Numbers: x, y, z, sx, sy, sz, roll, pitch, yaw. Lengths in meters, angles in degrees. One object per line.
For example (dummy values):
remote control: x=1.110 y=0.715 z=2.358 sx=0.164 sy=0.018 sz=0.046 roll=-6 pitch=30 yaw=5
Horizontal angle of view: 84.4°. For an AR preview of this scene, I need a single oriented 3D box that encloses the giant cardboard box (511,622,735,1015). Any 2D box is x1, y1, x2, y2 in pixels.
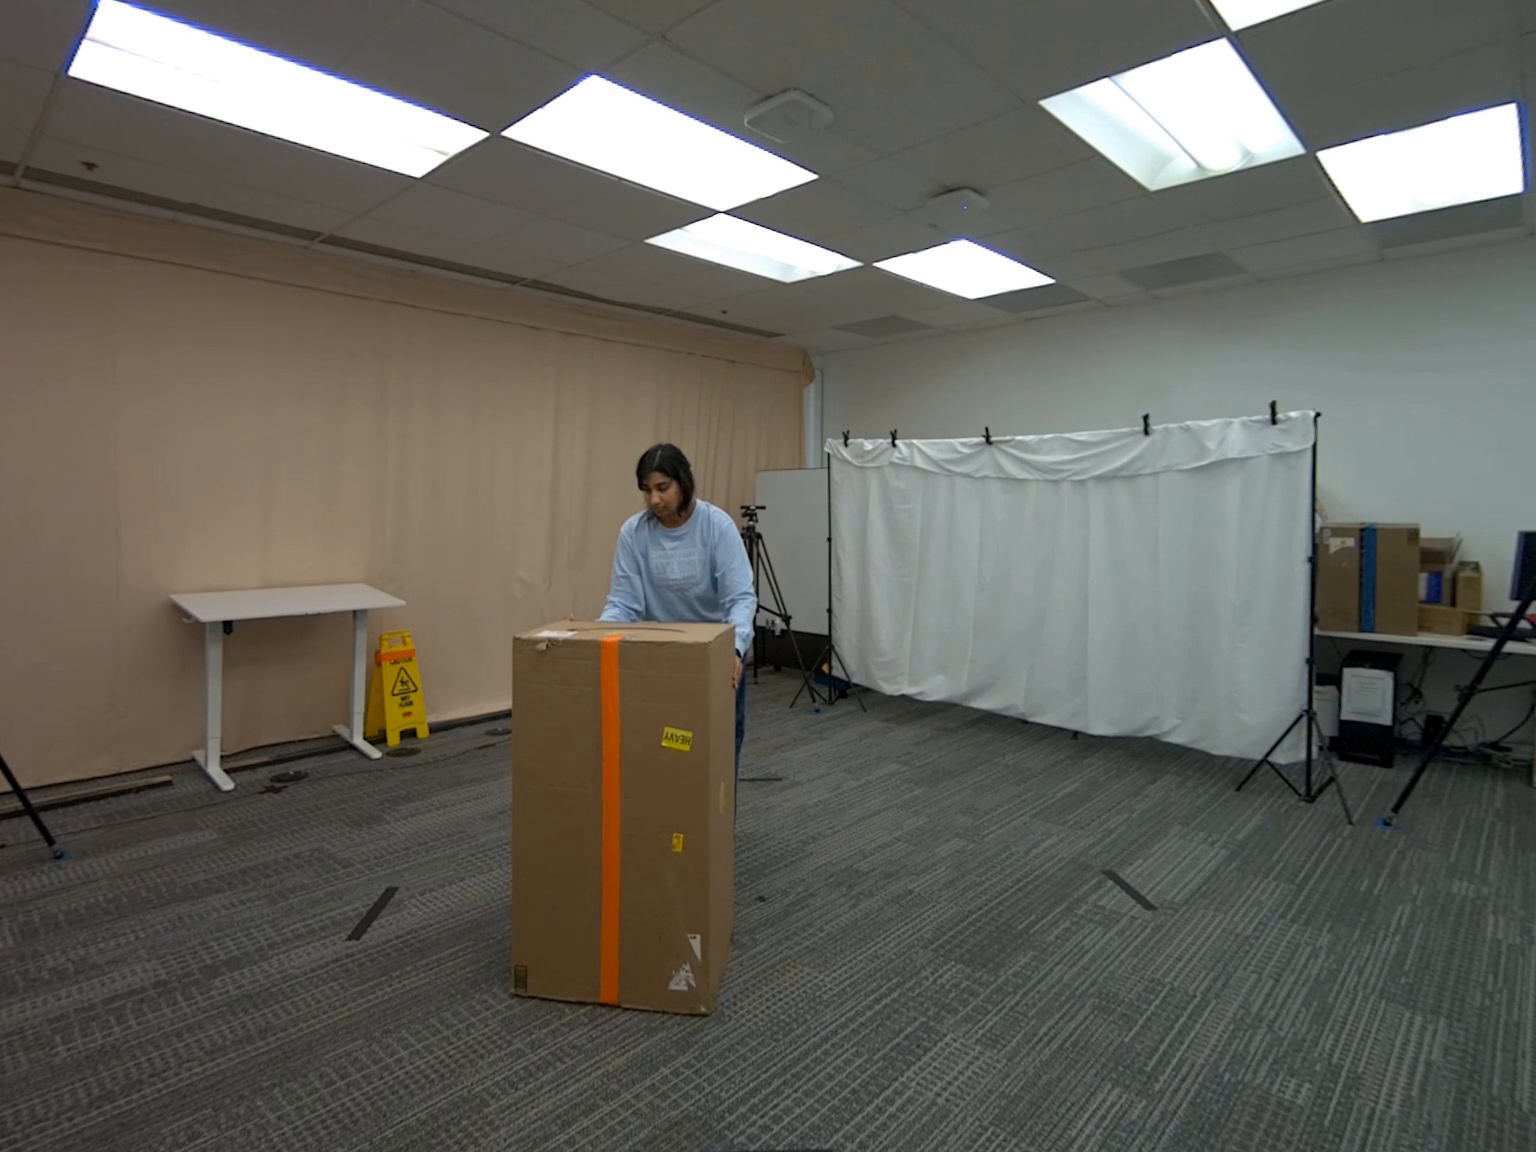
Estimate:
giant cardboard box: x=-0.414 y=0.668 z=2.532 sx=0.584 sy=1.025 sz=0.422 roll=0 pitch=2 yaw=10
